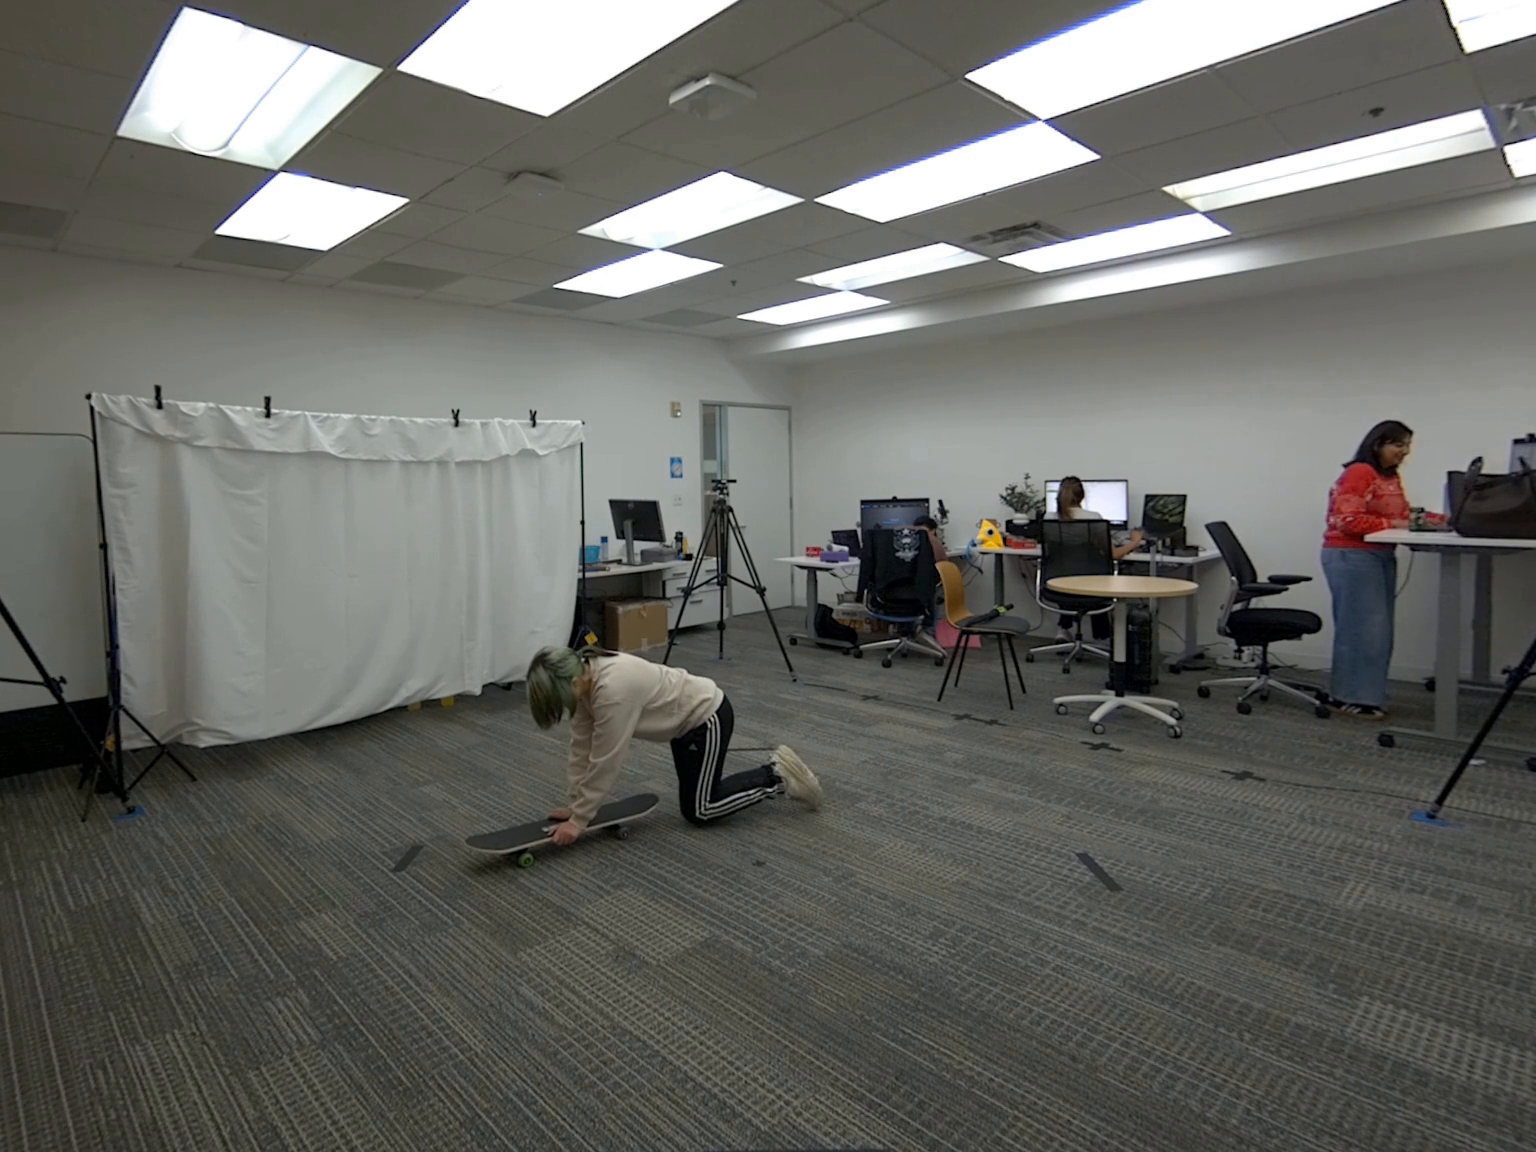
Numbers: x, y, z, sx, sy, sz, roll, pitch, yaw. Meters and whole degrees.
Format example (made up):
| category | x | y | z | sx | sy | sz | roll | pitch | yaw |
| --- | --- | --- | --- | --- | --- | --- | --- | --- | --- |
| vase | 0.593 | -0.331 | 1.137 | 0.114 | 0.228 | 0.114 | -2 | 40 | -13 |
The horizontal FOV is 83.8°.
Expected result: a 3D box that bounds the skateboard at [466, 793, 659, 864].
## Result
| category | x | y | z | sx | sy | sz | roll | pitch | yaw |
| --- | --- | --- | --- | --- | --- | --- | --- | --- | --- |
| skateboard | -0.766 | 0.983 | 3.297 | 0.766 | 0.110 | 0.199 | -5 | 6 | -34 |
